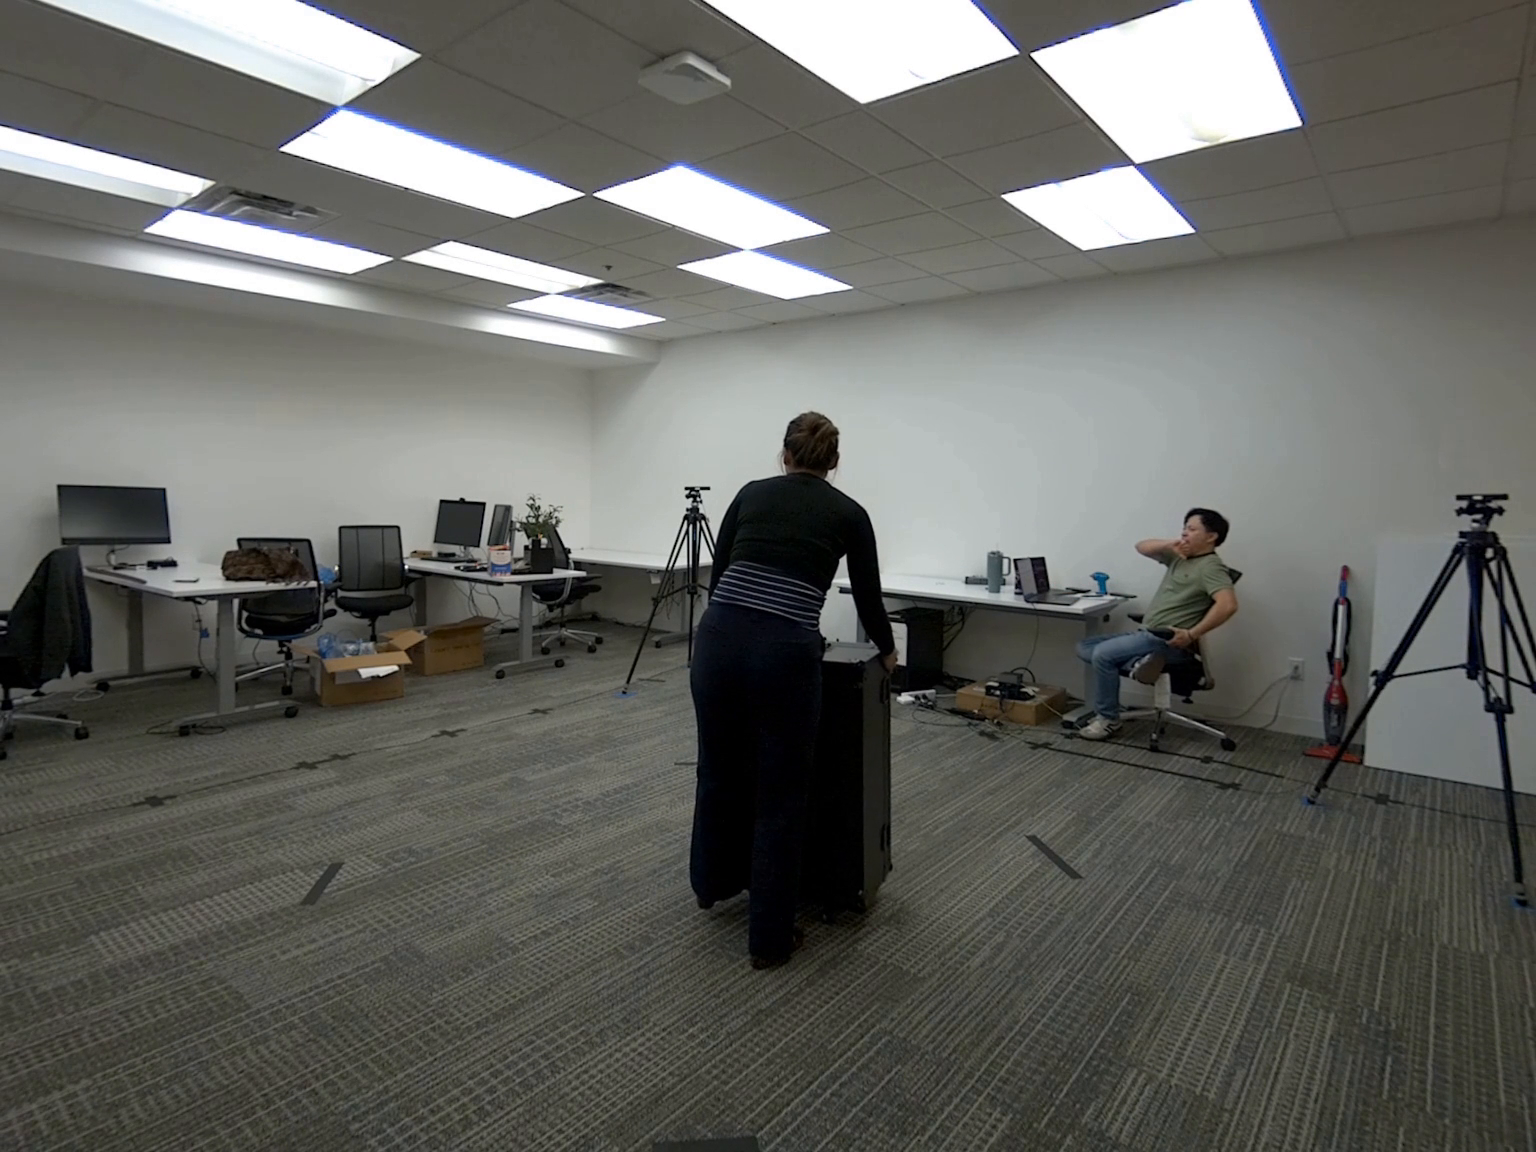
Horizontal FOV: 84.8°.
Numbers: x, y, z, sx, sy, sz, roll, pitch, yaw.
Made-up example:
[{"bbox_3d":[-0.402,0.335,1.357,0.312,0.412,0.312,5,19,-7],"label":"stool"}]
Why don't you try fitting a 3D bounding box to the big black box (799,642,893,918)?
[{"bbox_3d":[0.131,0.666,2.860,0.535,0.858,0.388,1,4,26],"label":"big black box"}]
